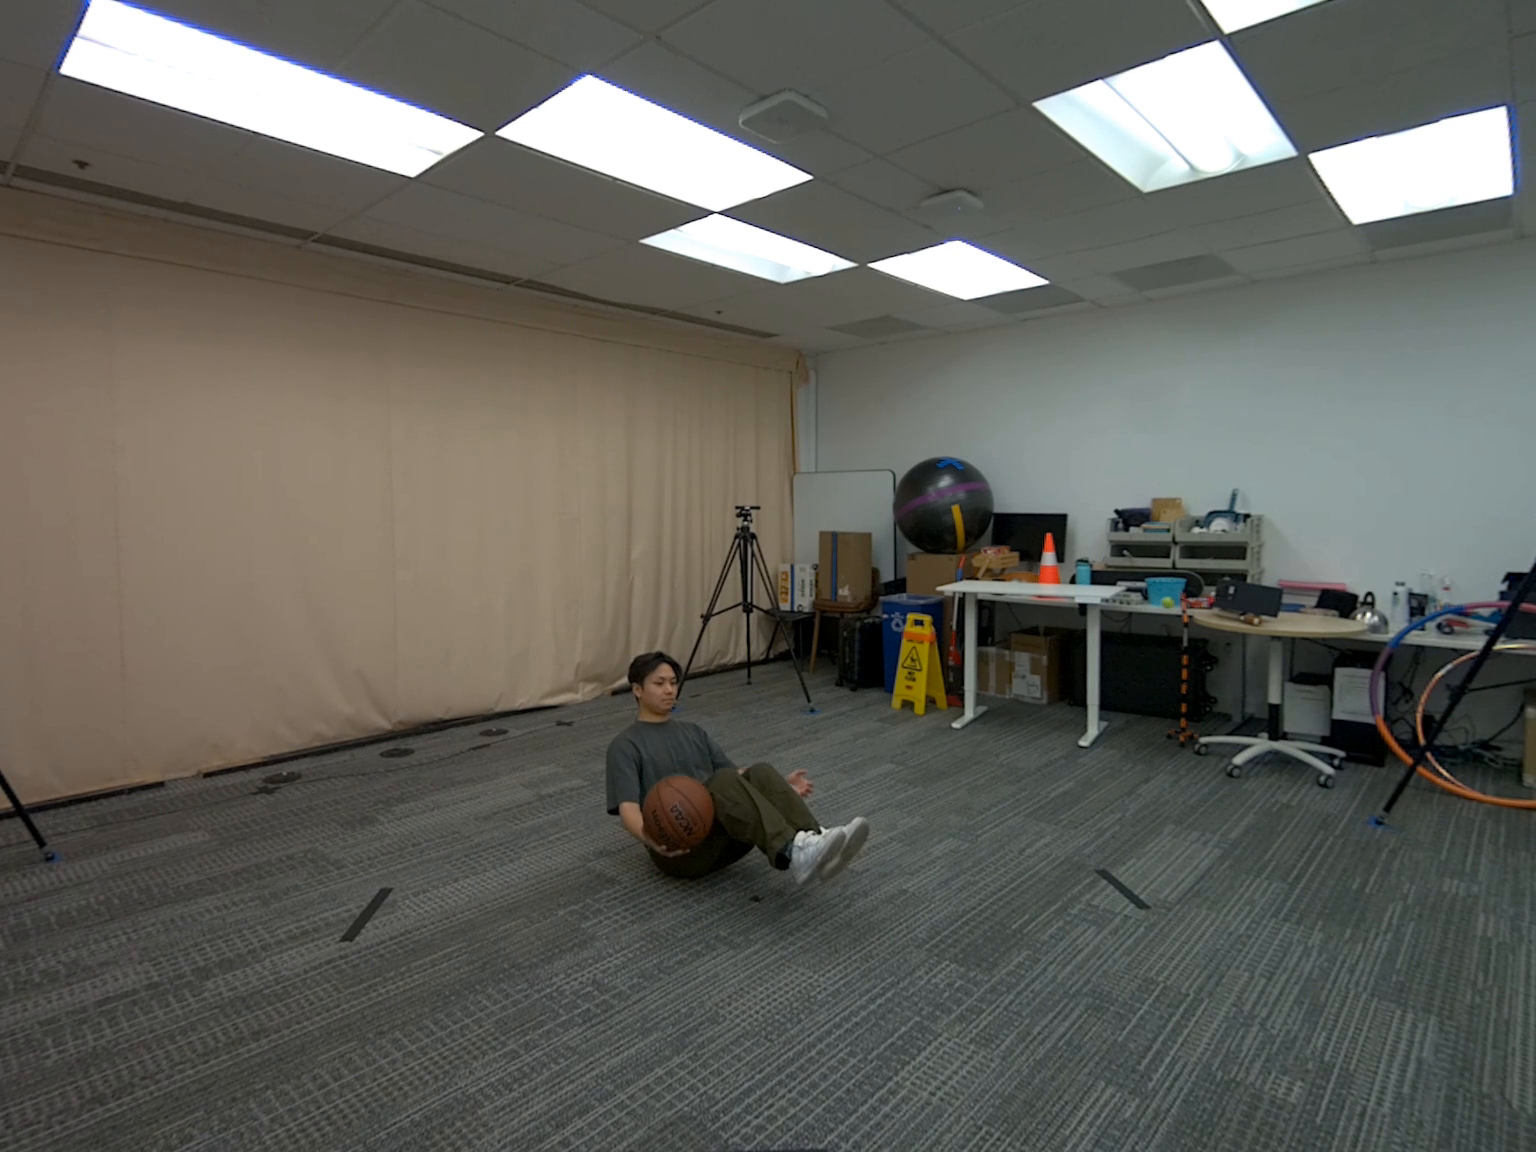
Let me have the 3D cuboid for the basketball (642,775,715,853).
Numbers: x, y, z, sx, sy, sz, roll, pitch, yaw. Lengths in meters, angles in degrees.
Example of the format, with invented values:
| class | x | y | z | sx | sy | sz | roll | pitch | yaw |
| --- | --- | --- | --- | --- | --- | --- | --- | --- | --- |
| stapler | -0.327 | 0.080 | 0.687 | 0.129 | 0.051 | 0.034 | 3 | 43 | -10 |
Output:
| class | x | y | z | sx | sy | sz | roll | pitch | yaw |
| --- | --- | --- | --- | --- | --- | --- | --- | --- | --- |
| basketball | -0.288 | 0.781 | 2.801 | 0.236 | 0.235 | 0.237 | 0 | 4 | -2 |
